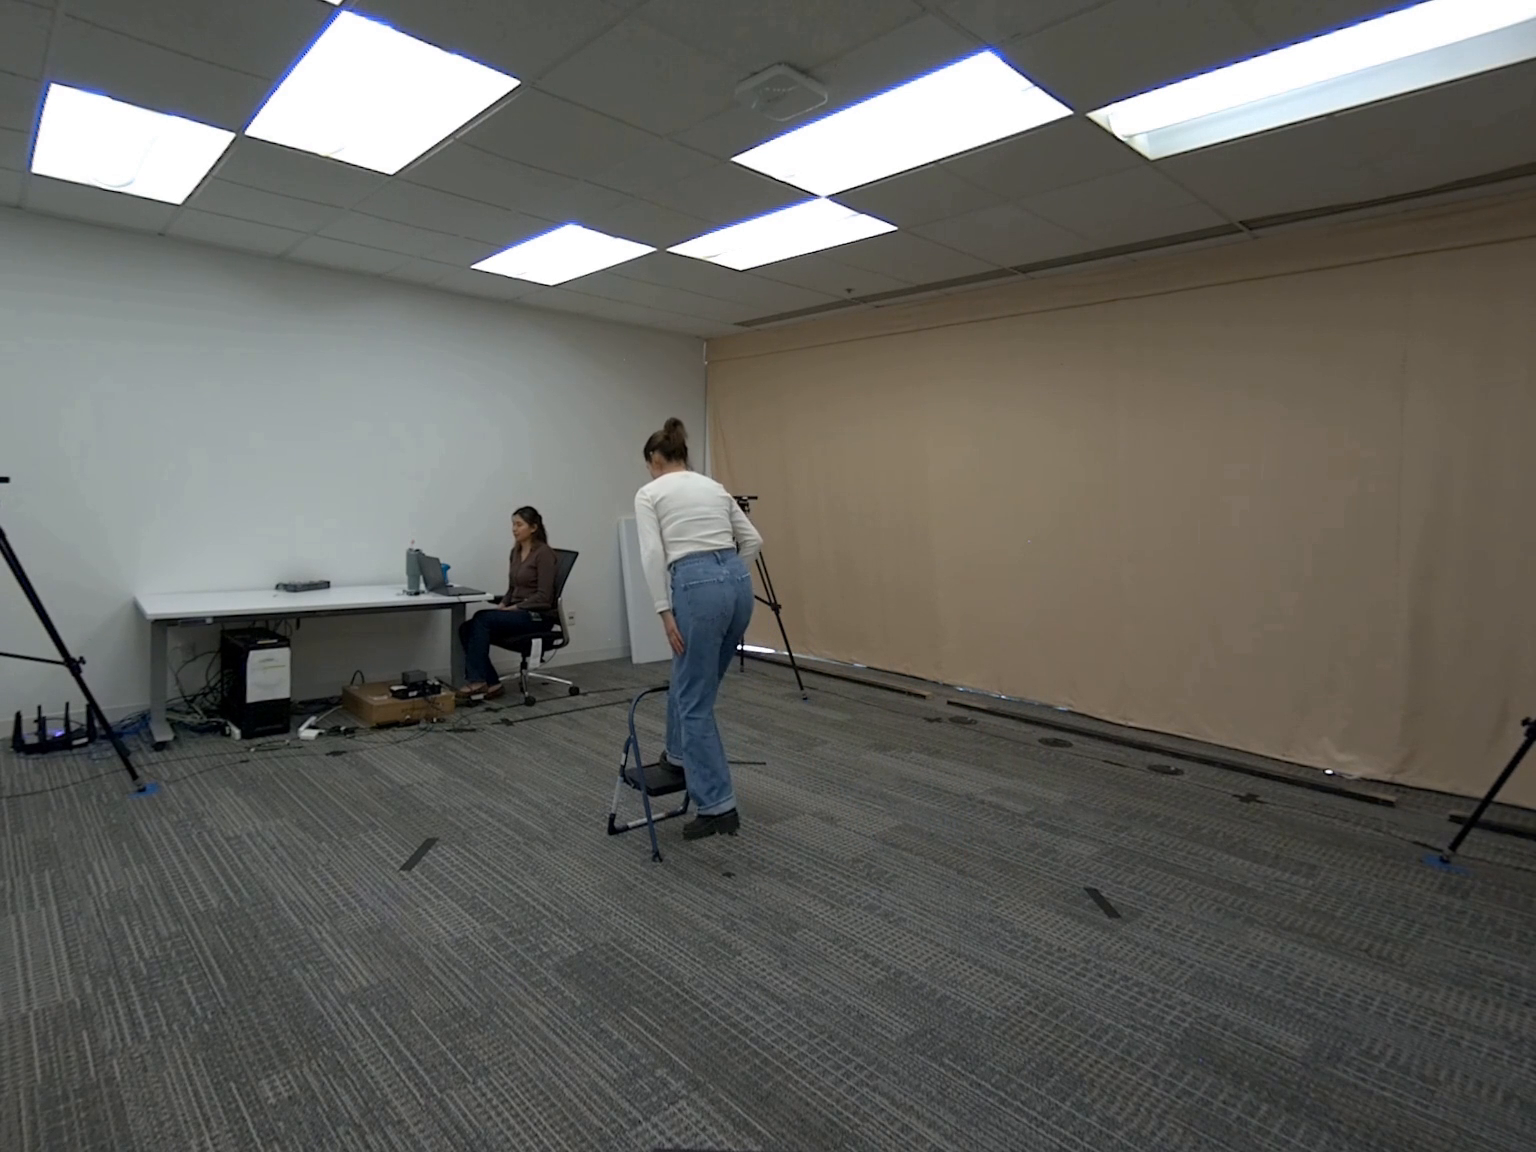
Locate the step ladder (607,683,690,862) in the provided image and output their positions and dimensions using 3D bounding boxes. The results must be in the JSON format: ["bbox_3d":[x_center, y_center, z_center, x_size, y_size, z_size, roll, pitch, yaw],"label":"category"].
[{"bbox_3d":[-0.393,0.764,3.449,0.420,0.605,0.358,-2,5,-45],"label":"step ladder"}]
